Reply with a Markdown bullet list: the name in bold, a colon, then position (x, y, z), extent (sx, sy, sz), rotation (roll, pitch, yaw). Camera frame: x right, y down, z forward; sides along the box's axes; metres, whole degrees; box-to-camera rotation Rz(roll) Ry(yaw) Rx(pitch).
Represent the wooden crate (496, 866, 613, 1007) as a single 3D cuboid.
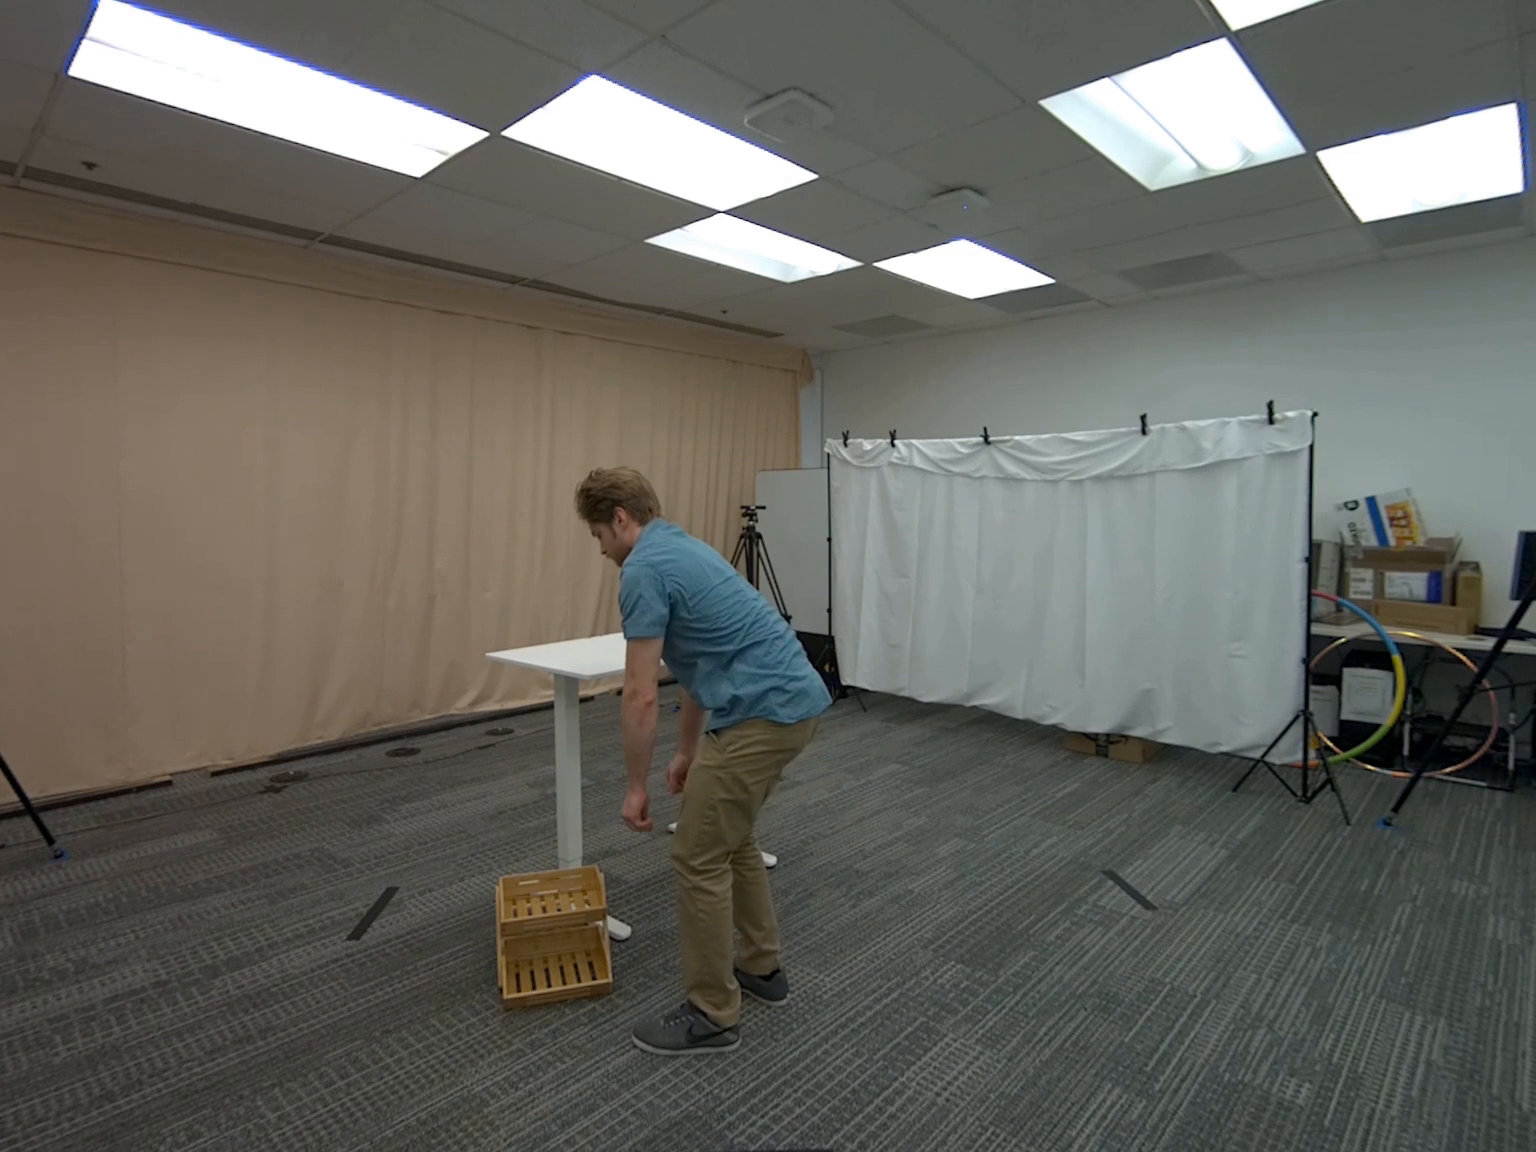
- **wooden crate**: position (-0.630, 1.055, 2.480), extent (0.318, 0.273, 0.308), rotation (-2, 3, -19)
